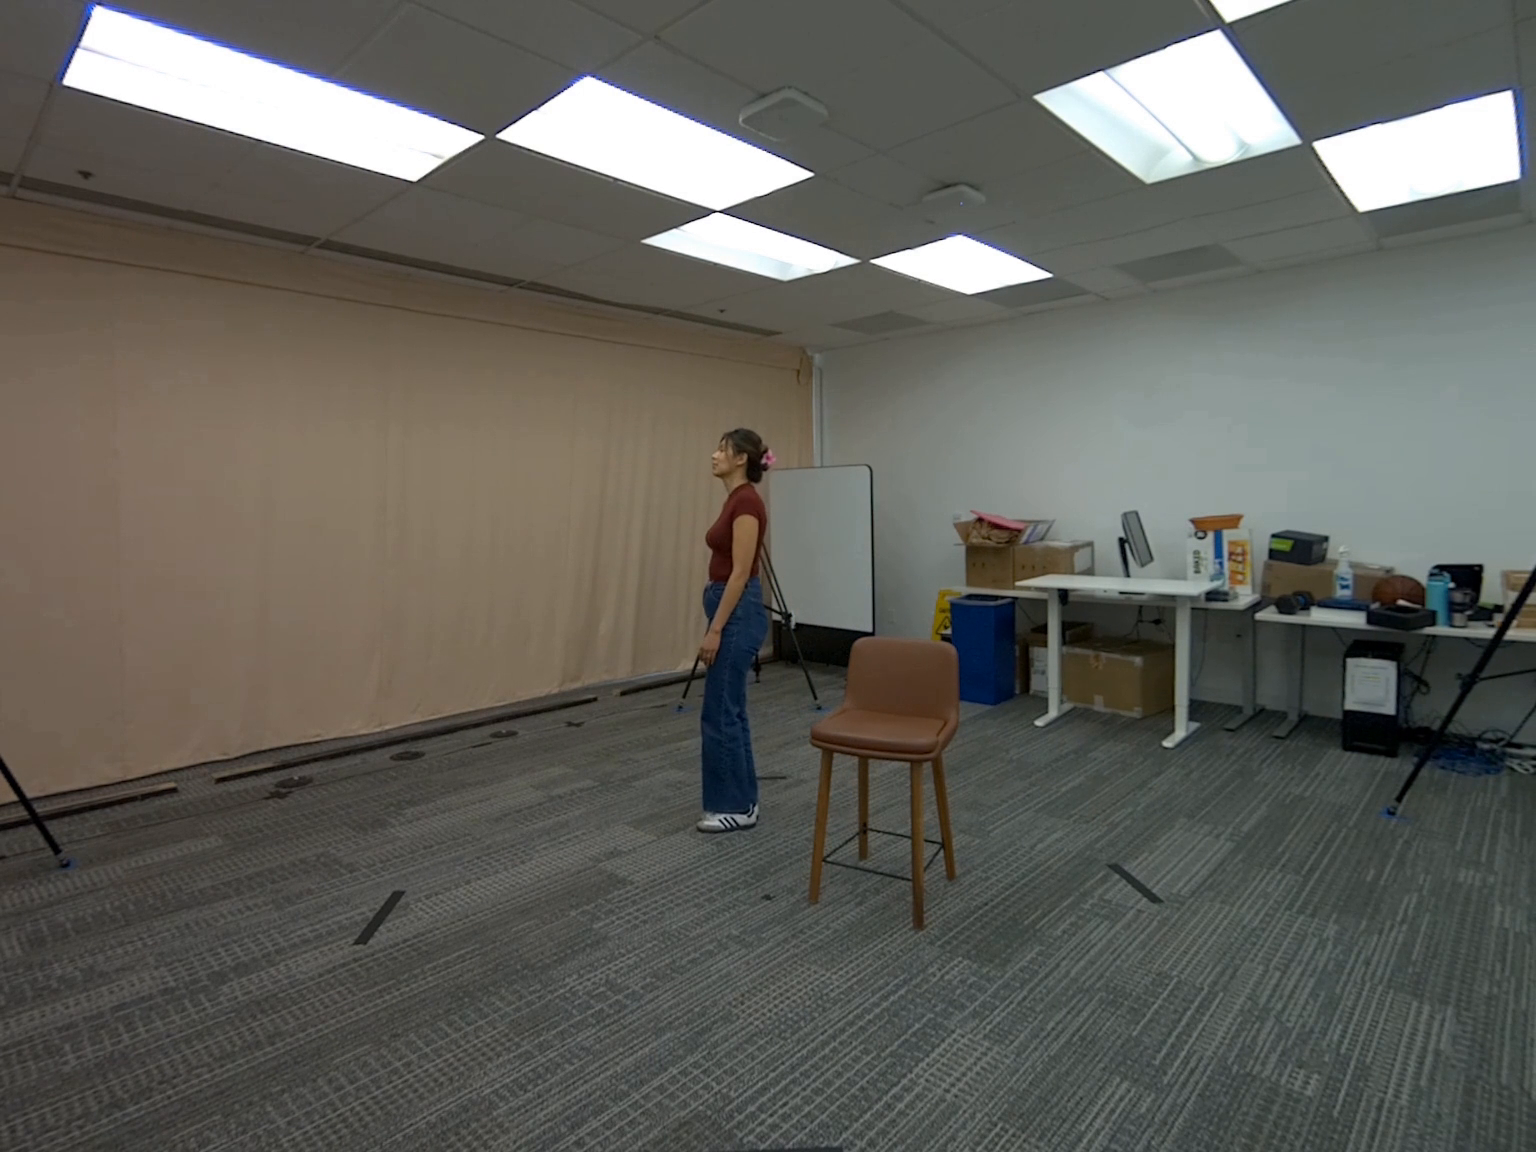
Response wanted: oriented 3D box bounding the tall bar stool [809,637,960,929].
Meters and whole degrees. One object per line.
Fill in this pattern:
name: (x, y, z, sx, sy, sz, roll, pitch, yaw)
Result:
tall bar stool: (0.429, 0.694, 3.005, 0.470, 0.889, 0.454, 2, 2, 31)
